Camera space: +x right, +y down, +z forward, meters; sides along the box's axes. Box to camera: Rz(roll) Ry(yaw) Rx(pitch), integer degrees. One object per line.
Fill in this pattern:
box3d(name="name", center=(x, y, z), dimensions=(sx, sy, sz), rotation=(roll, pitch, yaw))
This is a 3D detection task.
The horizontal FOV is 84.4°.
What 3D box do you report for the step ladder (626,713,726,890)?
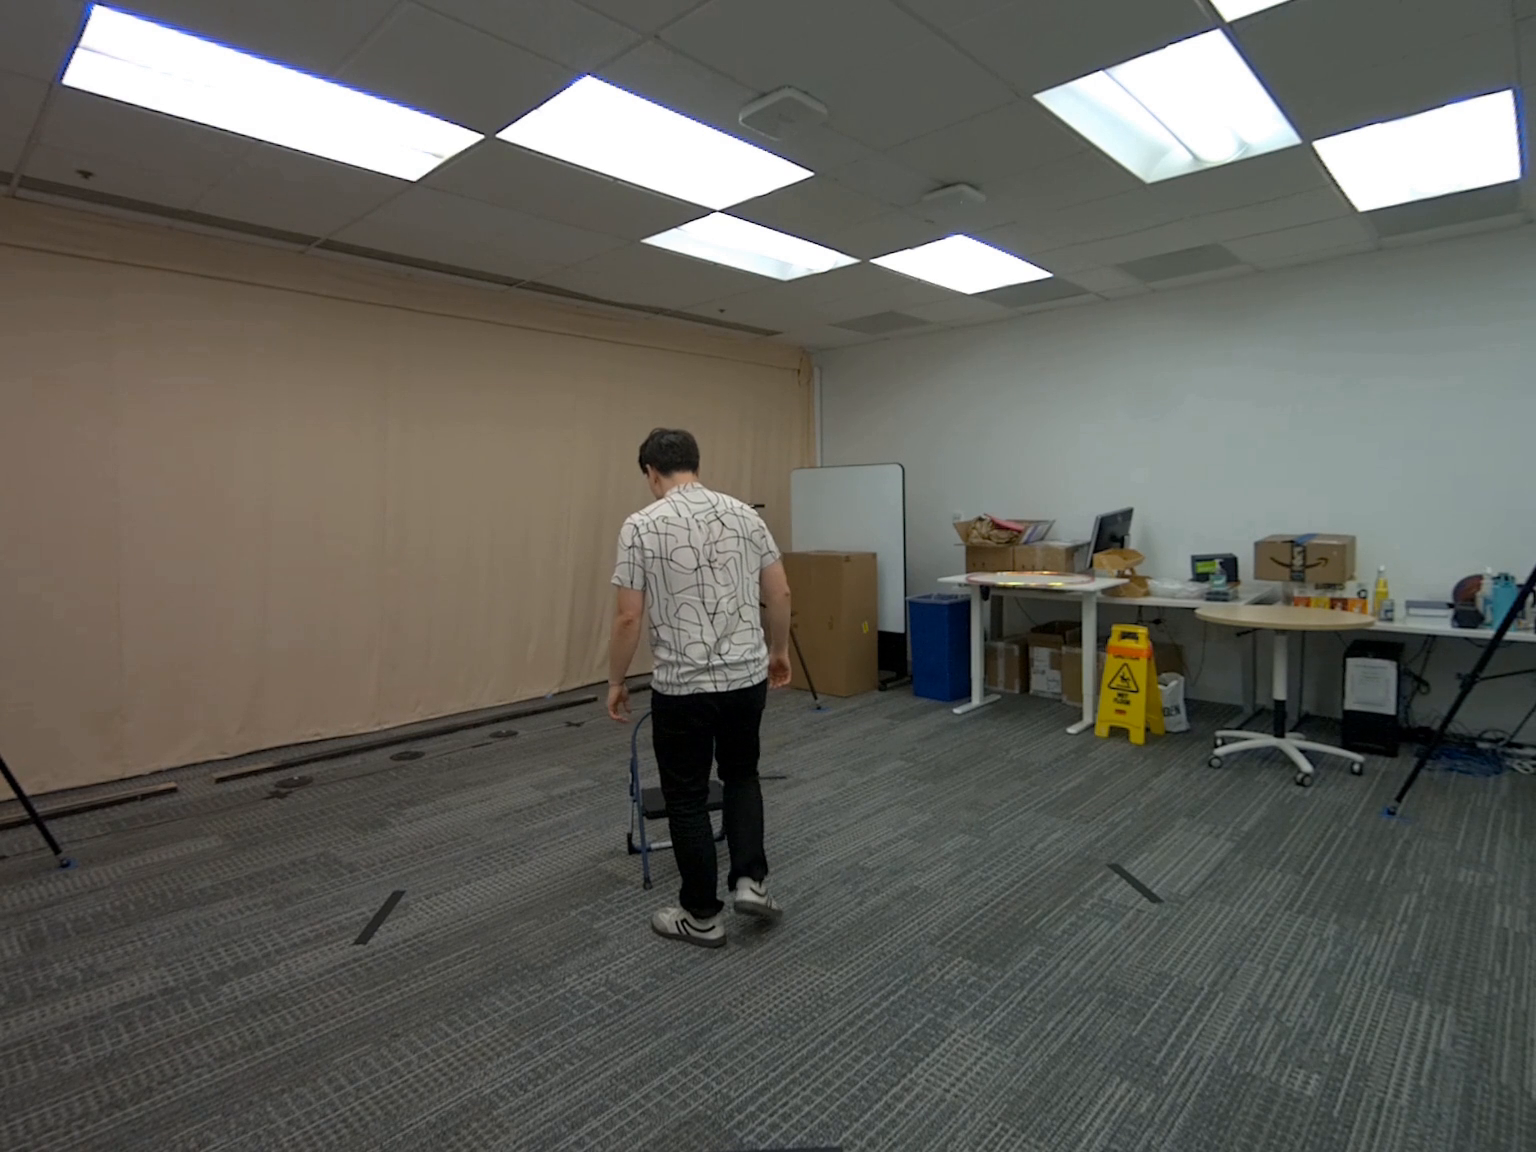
box3d(name="step ladder", center=(-0.322, 0.820, 3.283), dimensions=(0.422, 0.605, 0.357), rotation=(-2, 3, -20))
